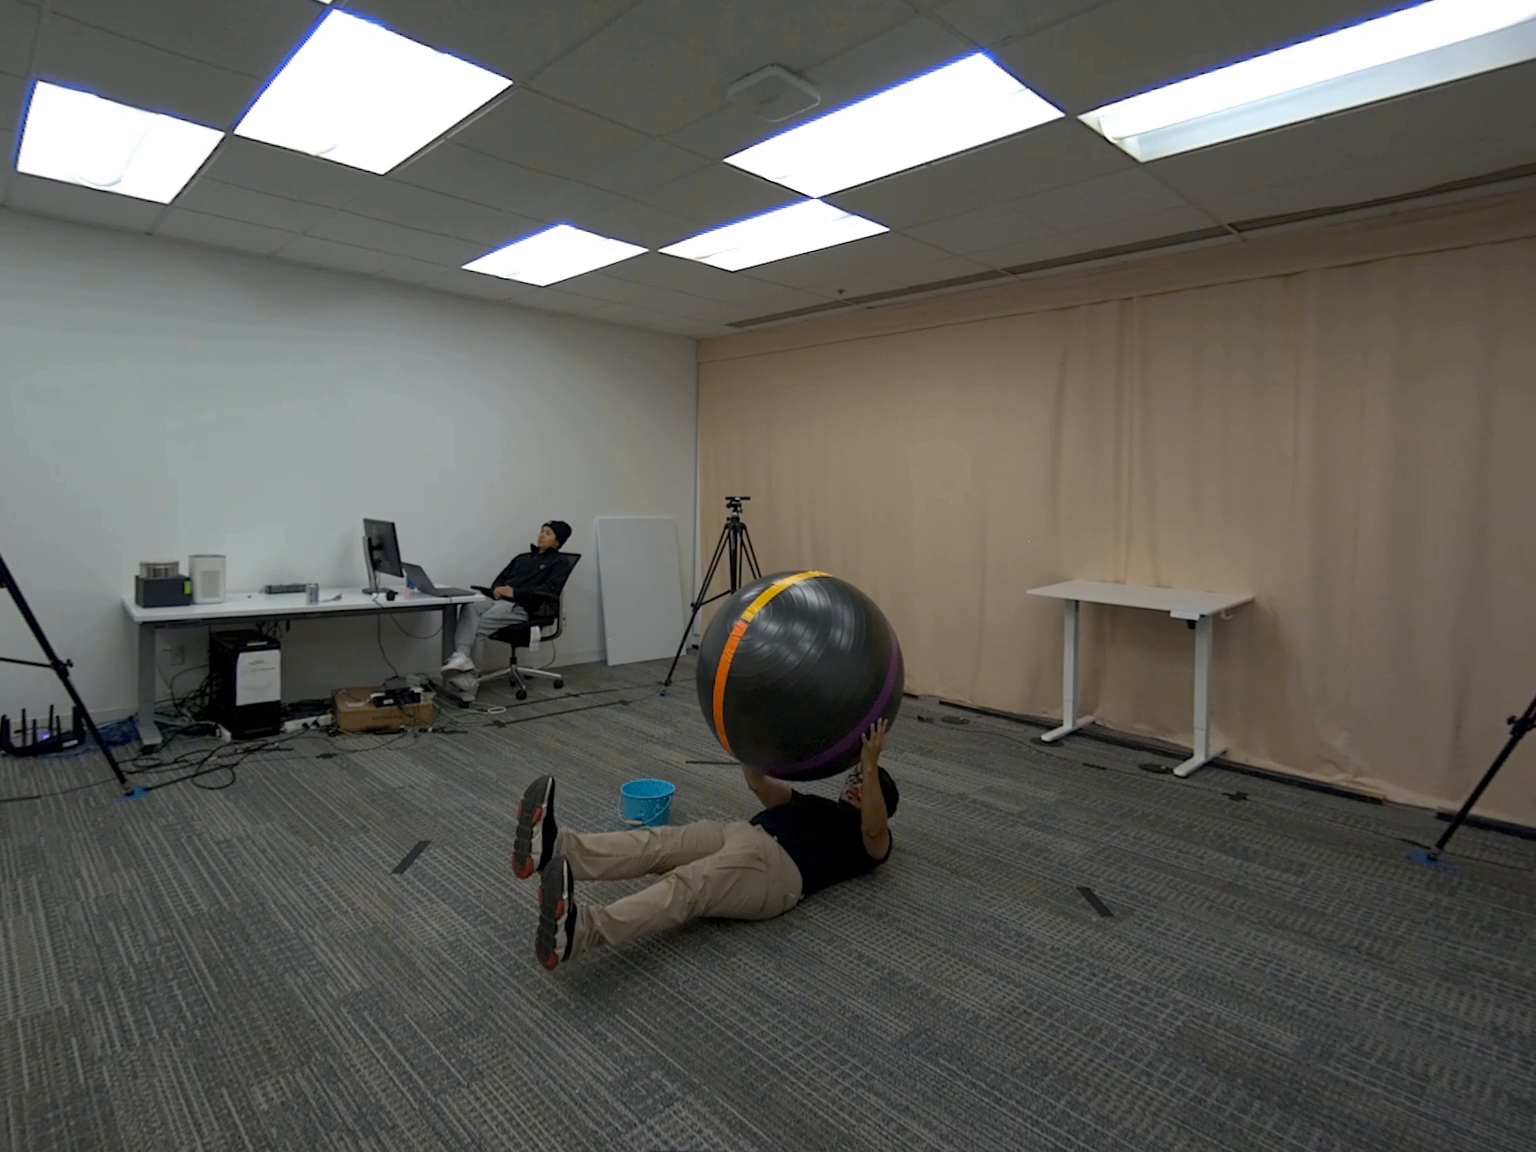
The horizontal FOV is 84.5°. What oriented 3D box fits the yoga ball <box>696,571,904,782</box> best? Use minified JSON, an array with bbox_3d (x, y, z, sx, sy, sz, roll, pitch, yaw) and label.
[{"bbox_3d":[0.113,0.363,3.075,0.757,0.755,0.761,1,5,-1],"label":"yoga ball"}]
